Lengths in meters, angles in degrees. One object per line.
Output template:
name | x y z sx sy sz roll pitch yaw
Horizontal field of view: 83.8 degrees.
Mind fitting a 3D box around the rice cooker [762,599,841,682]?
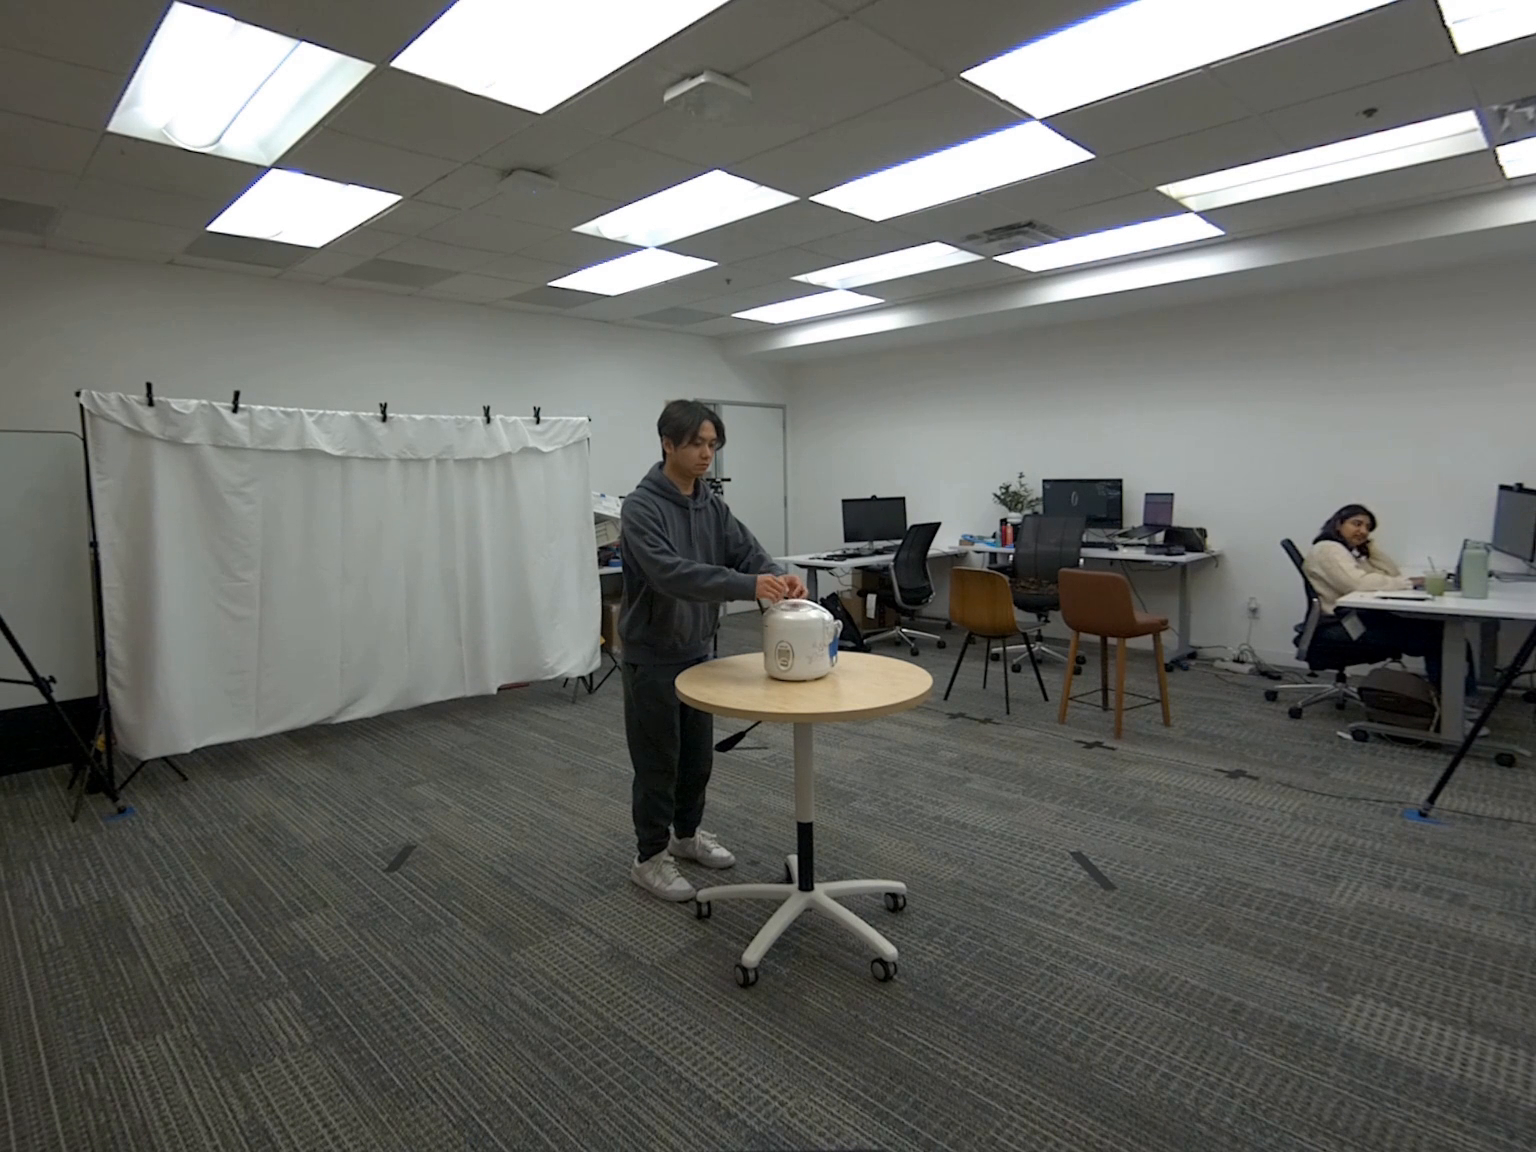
rice cooker | 0.094 0.188 2.585 0.226 0.232 0.213 1 4 26
